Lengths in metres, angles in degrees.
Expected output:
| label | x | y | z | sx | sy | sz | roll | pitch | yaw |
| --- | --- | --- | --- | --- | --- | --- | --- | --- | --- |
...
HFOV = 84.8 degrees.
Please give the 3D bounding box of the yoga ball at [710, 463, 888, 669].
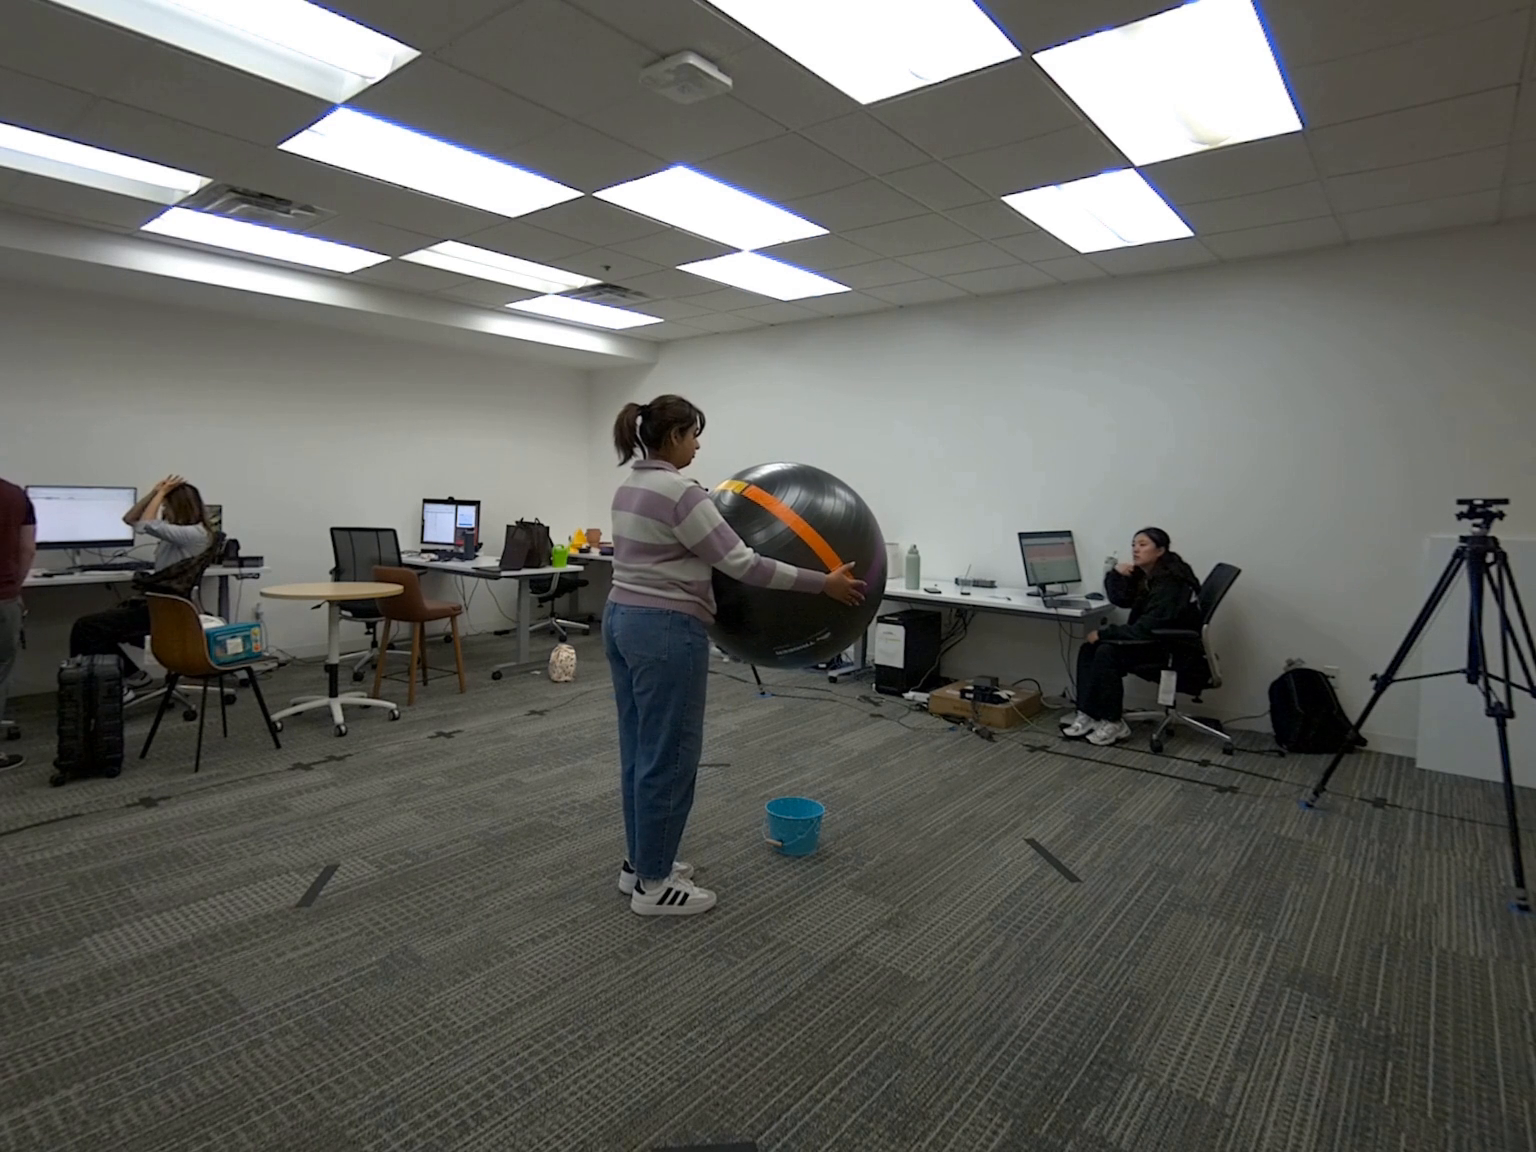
| label | x | y | z | sx | sy | sz | roll | pitch | yaw |
| --- | --- | --- | --- | --- | --- | --- | --- | --- | --- |
| yoga ball | 0.056 | -0.040 | 3.142 | 0.757 | 0.756 | 0.762 | 1 | 4 | -2 |
